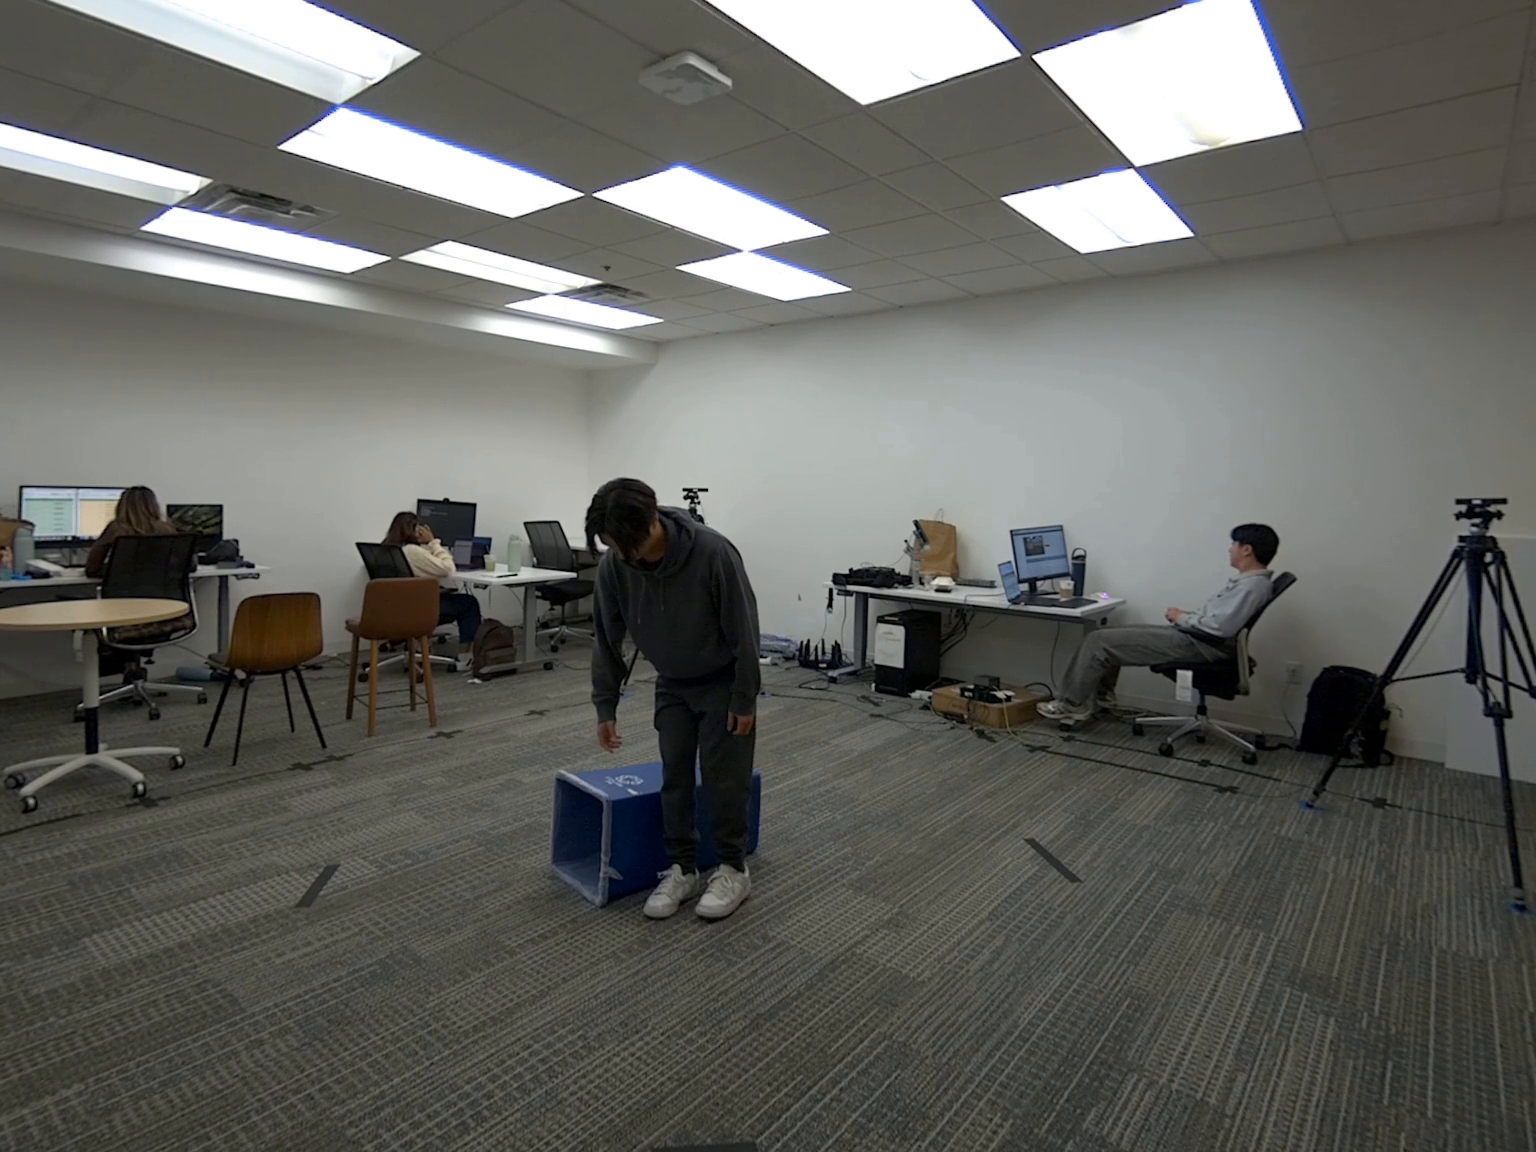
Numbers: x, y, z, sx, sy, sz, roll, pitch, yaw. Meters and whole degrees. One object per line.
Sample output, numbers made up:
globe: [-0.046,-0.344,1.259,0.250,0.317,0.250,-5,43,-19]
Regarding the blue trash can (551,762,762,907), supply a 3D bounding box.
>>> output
blue trash can: [-0.411,0.894,3.157,0.691,0.377,0.387,1,3,-41]
